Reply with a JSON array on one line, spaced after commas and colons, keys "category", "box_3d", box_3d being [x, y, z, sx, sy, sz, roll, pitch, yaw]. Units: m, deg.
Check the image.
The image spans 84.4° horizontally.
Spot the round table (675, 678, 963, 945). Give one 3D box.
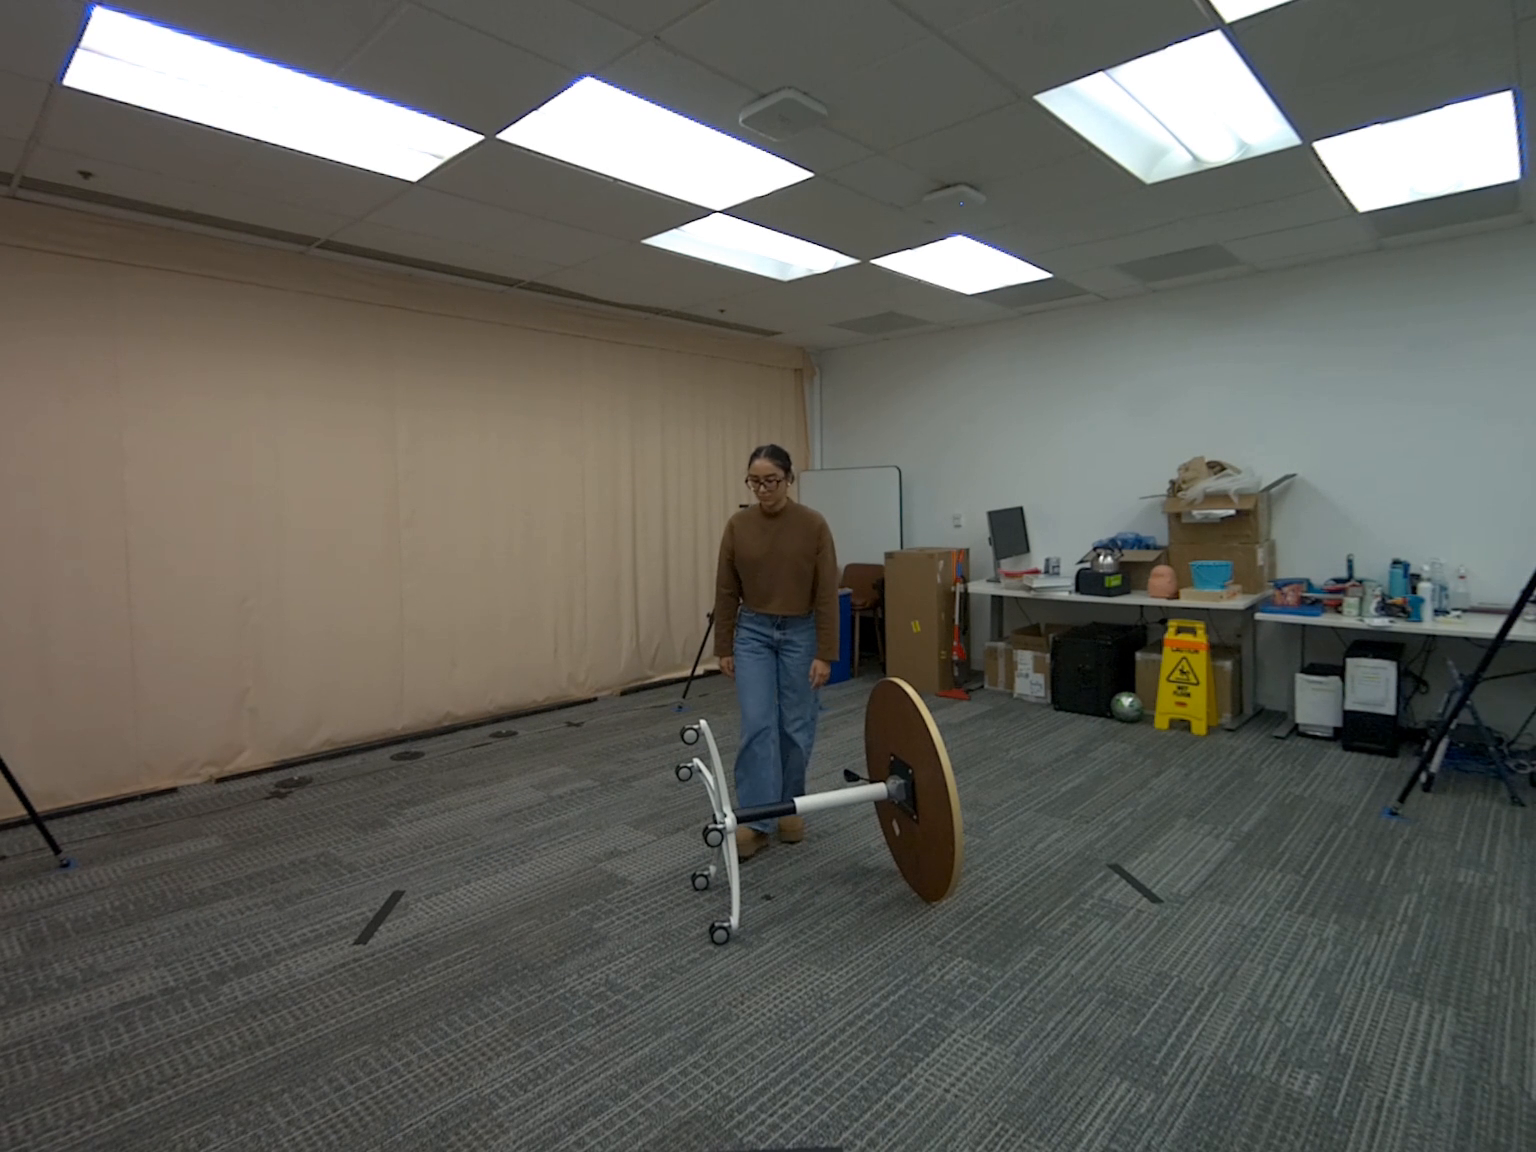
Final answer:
[{"category": "round table", "box_3d": [0.127, 0.803, 2.927, 0.786, 0.761, 0.775, -8, 5, -11]}]
